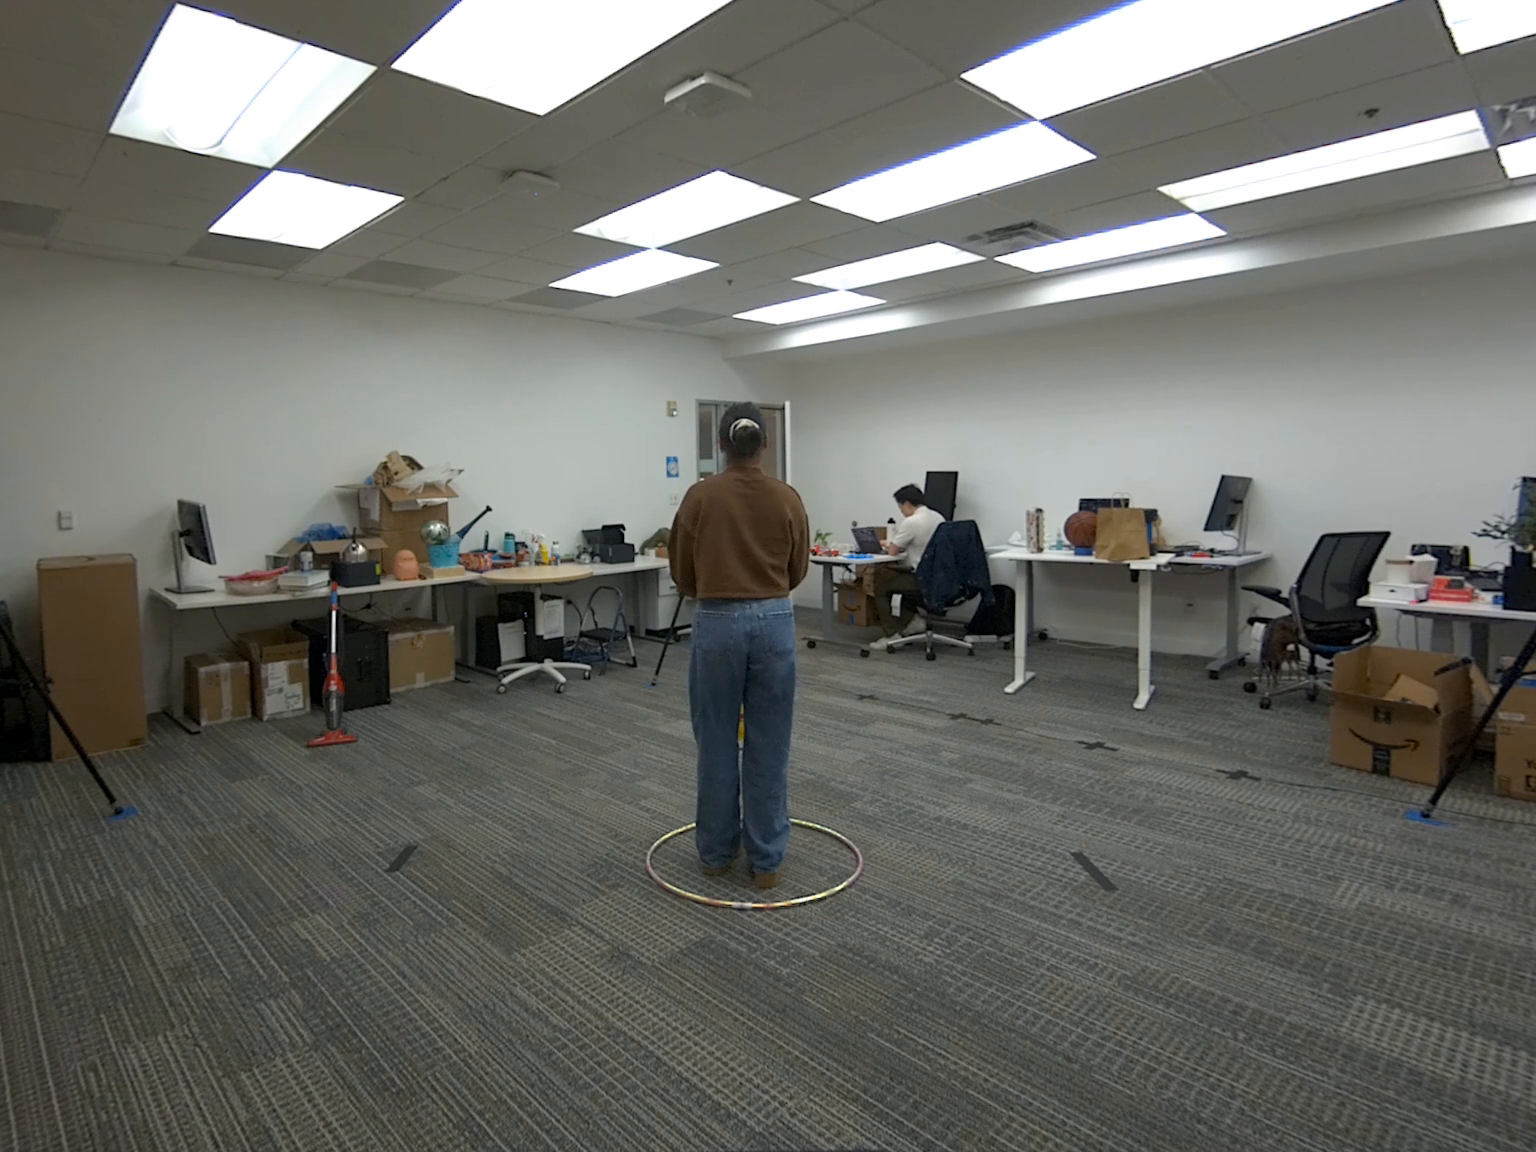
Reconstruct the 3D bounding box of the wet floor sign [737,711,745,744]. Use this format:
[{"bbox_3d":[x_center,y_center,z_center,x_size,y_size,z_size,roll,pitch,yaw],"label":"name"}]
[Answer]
[{"bbox_3d":[-0.143,0.360,3.325,0.279,0.643,0.294,-2,6,-11],"label":"wet floor sign"}]
